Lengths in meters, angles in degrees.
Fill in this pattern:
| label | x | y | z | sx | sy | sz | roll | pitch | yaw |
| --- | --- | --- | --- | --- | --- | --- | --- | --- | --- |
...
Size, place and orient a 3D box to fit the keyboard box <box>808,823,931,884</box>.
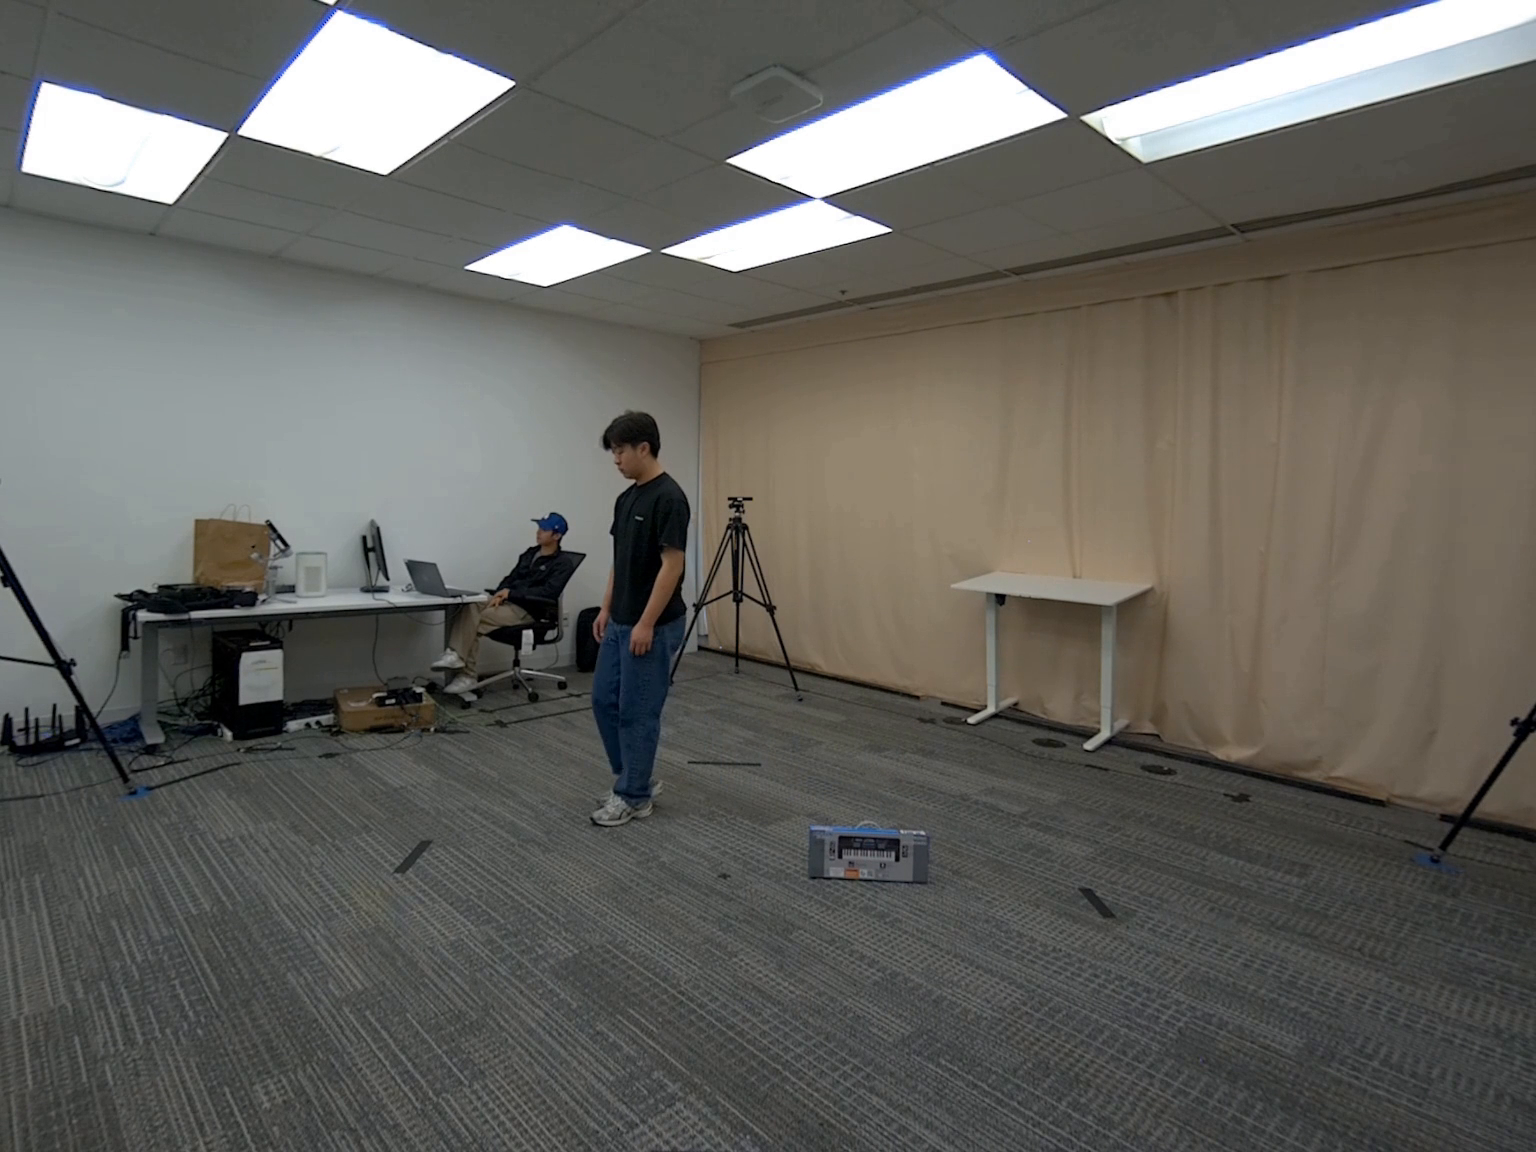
| label | x | y | z | sx | sy | sz | roll | pitch | yaw |
| --- | --- | --- | --- | --- | --- | --- | --- | --- | --- |
| keyboard box | 0.365 | 1.031 | 3.115 | 0.437 | 0.176 | 0.059 | 2 | -1 | 2 |
